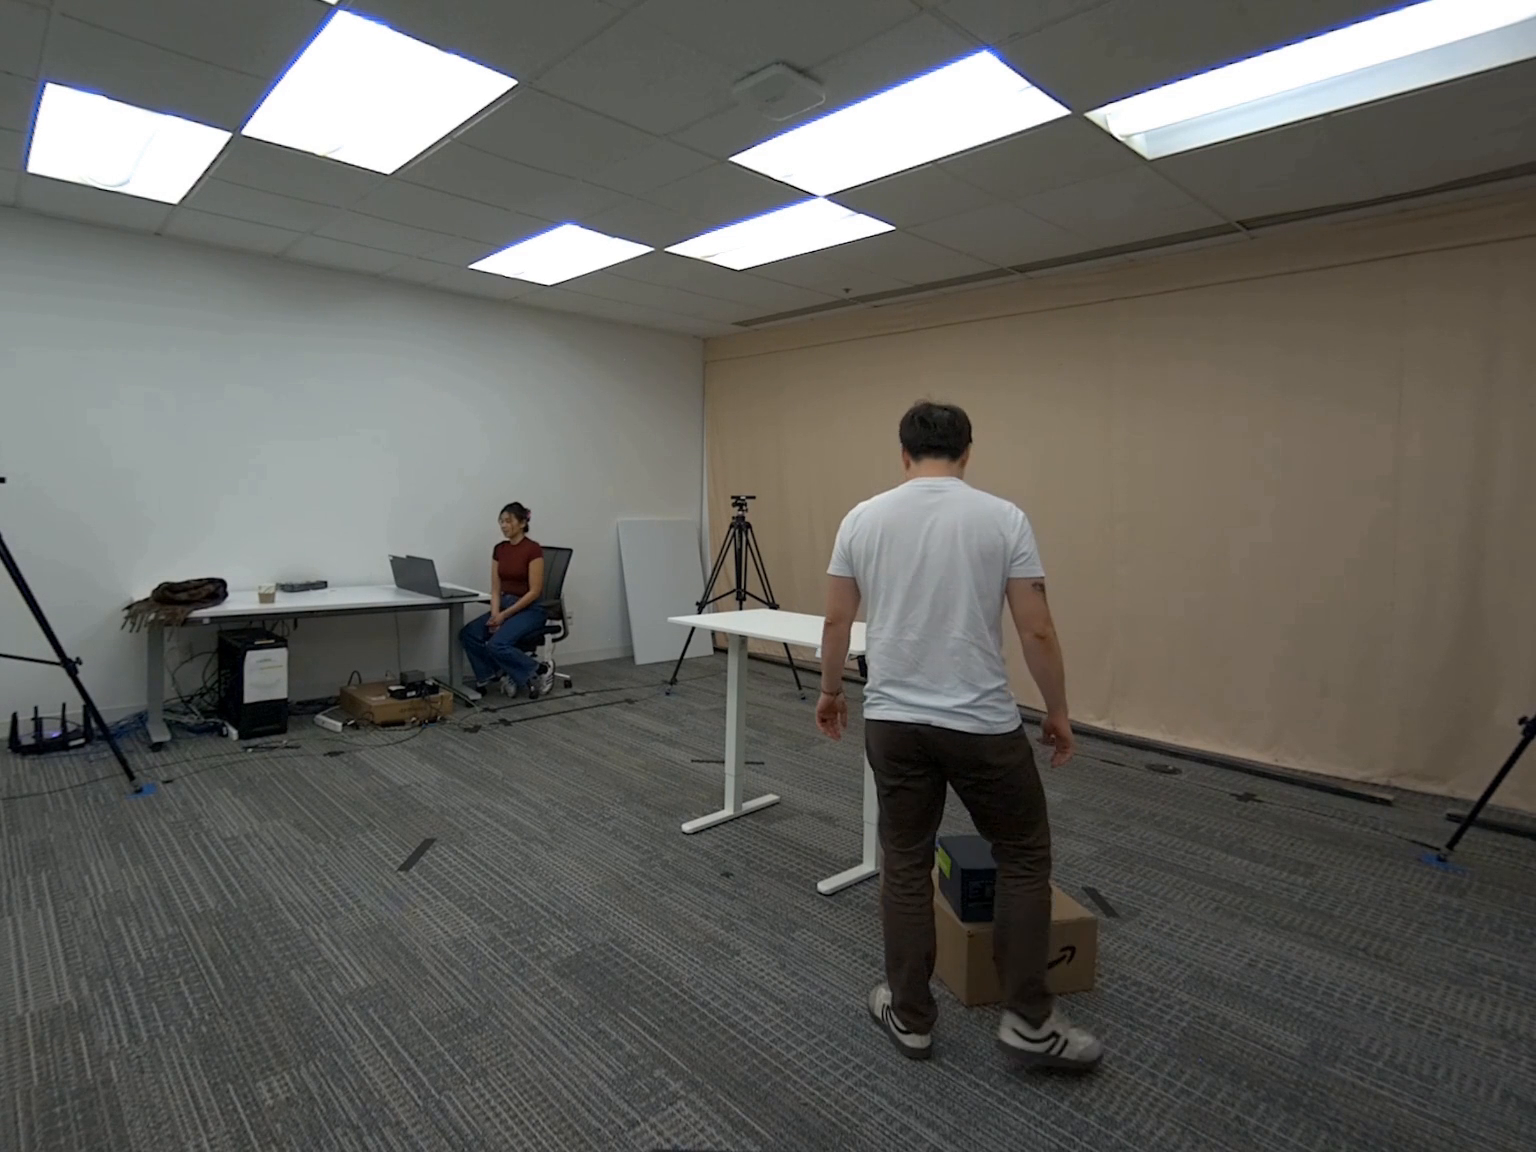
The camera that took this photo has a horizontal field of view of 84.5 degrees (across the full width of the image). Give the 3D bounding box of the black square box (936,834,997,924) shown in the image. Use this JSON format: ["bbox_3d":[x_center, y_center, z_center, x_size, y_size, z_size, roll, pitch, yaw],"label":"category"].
[{"bbox_3d":[0.630,0.882,2.468,0.216,0.155,0.229,0,4,-4],"label":"black square box"}]
